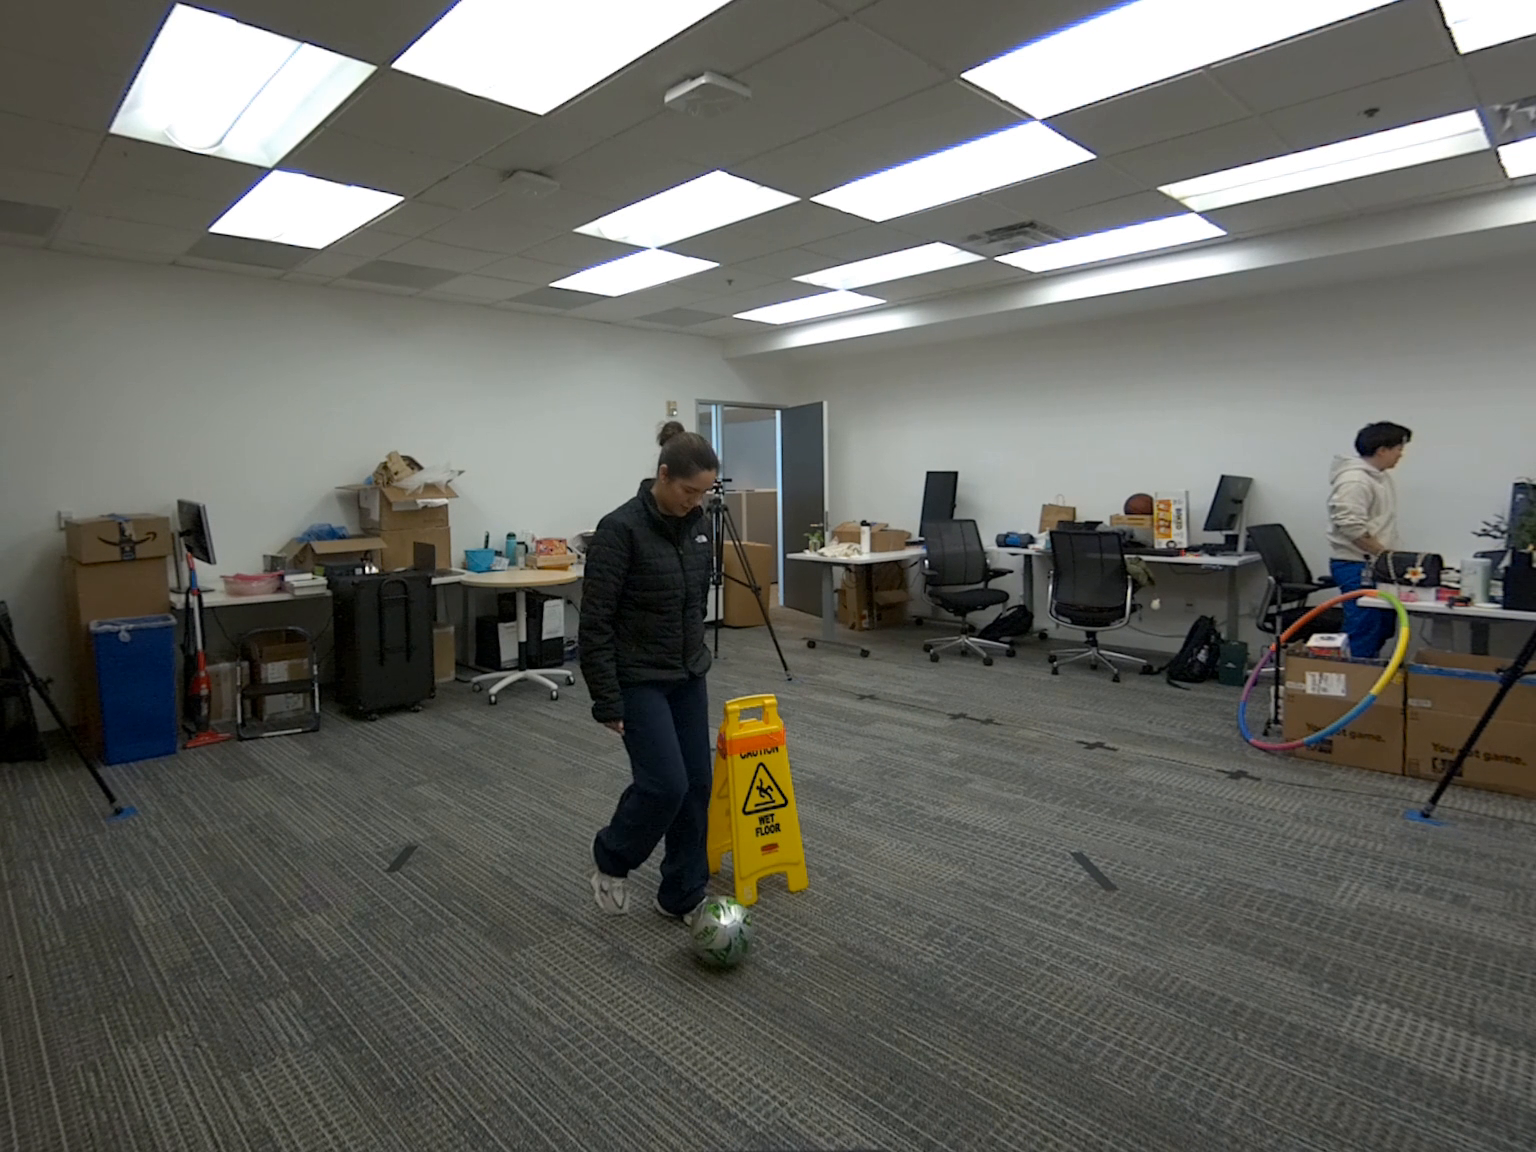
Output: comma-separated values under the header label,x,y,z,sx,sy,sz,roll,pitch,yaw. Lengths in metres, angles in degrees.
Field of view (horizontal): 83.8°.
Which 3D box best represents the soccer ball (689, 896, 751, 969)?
label,x,y,z,sx,sy,sz,roll,pitch,yaw
soccer ball,-0.134,1.030,2.475,0.187,0.187,0.188,-1,5,-2
